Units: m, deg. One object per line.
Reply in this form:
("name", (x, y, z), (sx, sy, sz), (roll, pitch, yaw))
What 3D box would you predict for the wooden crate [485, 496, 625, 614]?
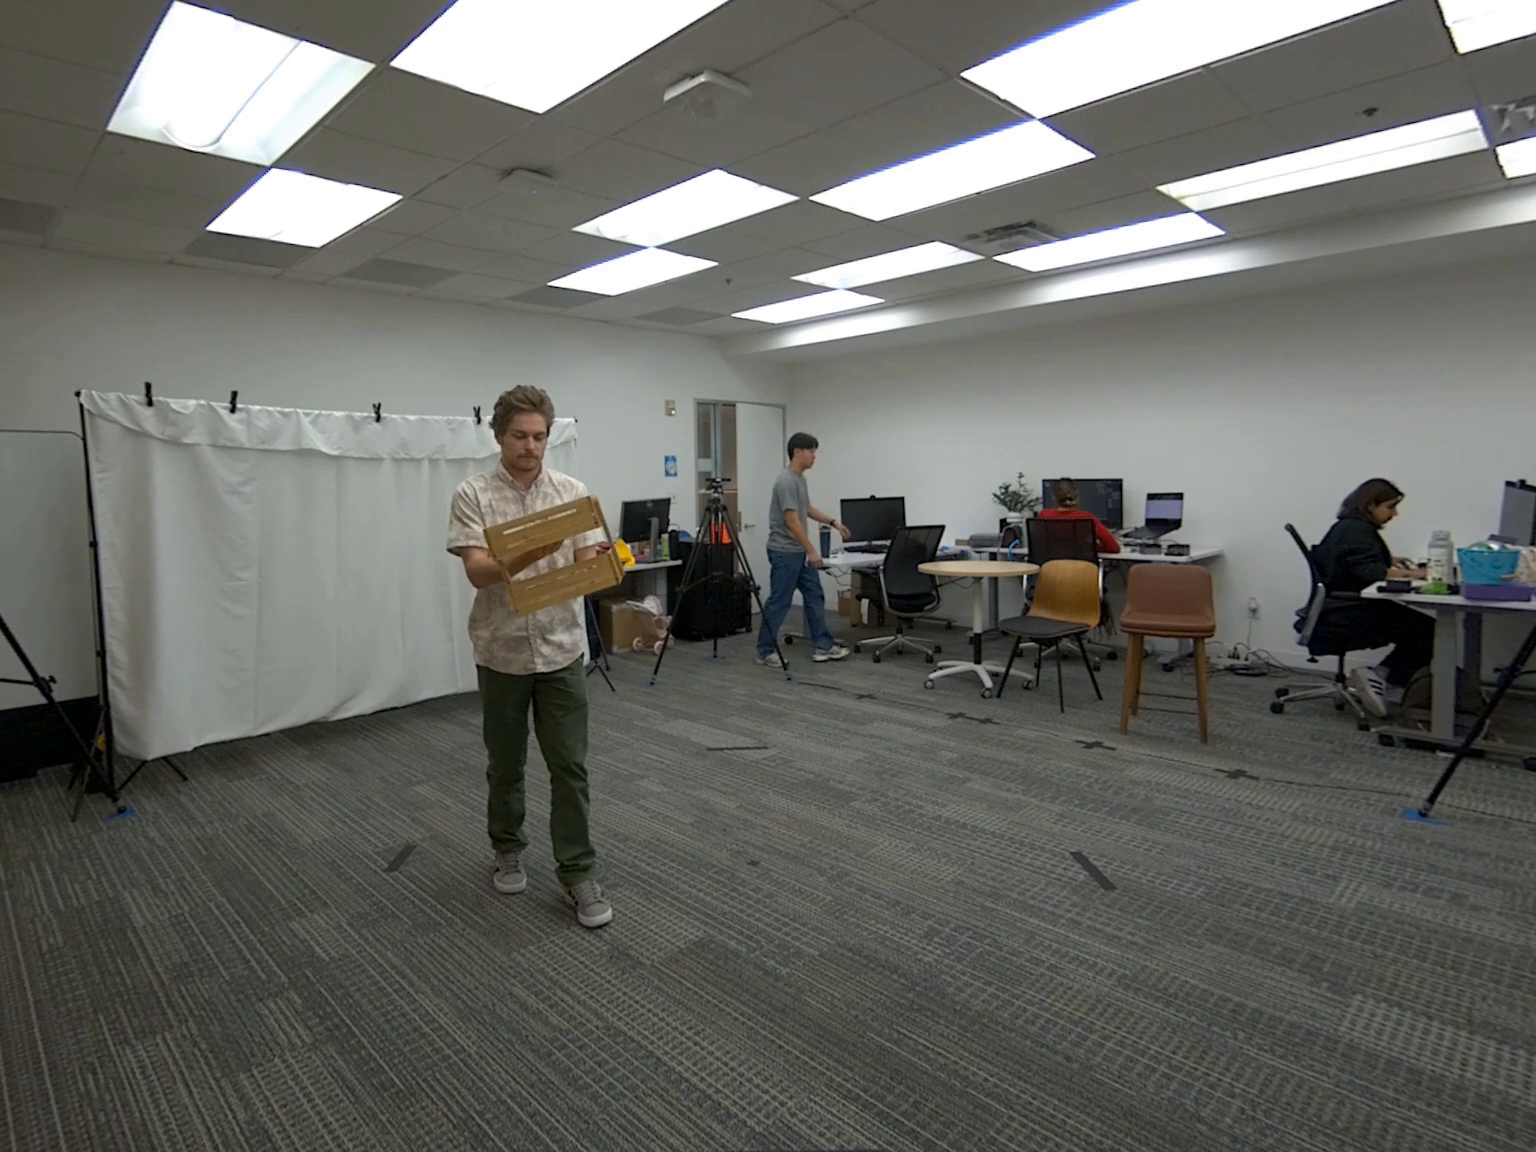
("wooden crate", (-0.605, -0.071, 2.448), (0.323, 0.271, 0.305), (-18, 7, -5))
